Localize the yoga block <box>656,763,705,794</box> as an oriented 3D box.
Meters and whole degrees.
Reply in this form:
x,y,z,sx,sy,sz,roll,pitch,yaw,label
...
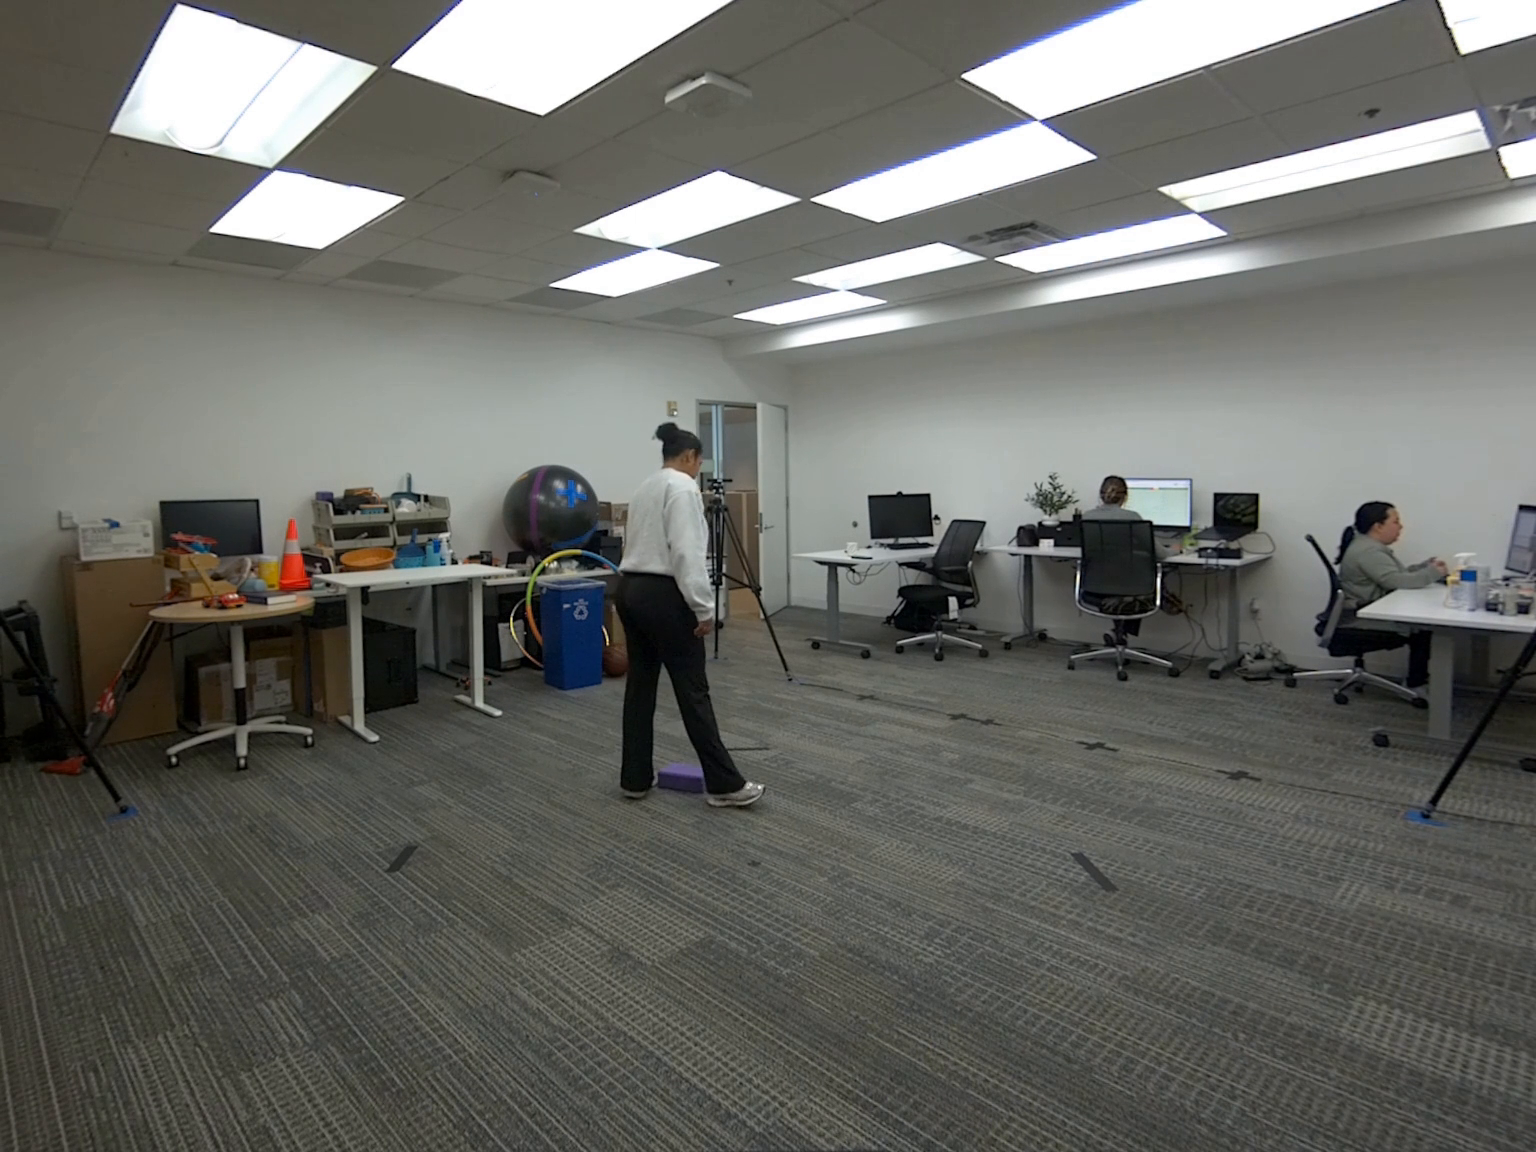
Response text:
x,y,z,sx,sy,sz,roll,pitch,yaw,label
-0.371,0.919,3.909,0.234,0.076,0.146,1,6,23,yoga block
